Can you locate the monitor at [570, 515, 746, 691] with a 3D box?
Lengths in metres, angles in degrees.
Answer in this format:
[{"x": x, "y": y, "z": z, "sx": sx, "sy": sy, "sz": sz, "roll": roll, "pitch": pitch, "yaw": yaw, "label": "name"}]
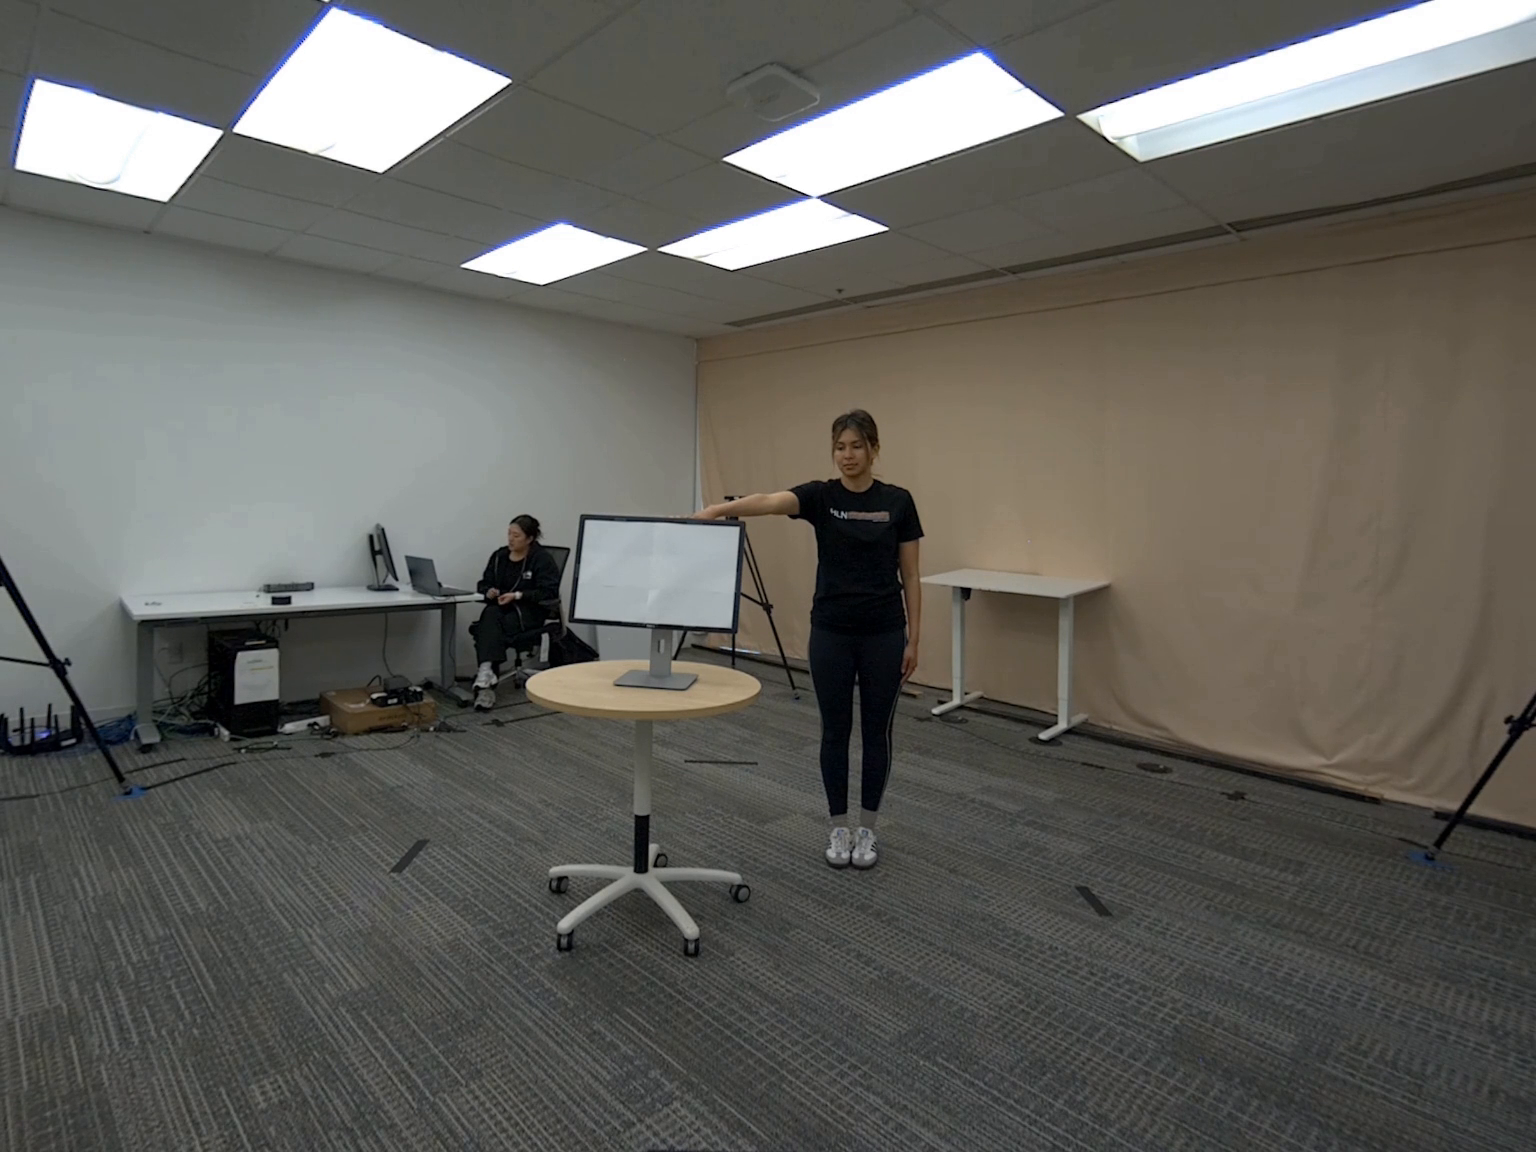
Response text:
[{"x": -0.358, "y": 0.088, "z": 2.768, "sx": 0.543, "sy": 0.521, "sz": 0.186, "roll": 3, "pitch": 3, "yaw": 9, "label": "monitor"}]
